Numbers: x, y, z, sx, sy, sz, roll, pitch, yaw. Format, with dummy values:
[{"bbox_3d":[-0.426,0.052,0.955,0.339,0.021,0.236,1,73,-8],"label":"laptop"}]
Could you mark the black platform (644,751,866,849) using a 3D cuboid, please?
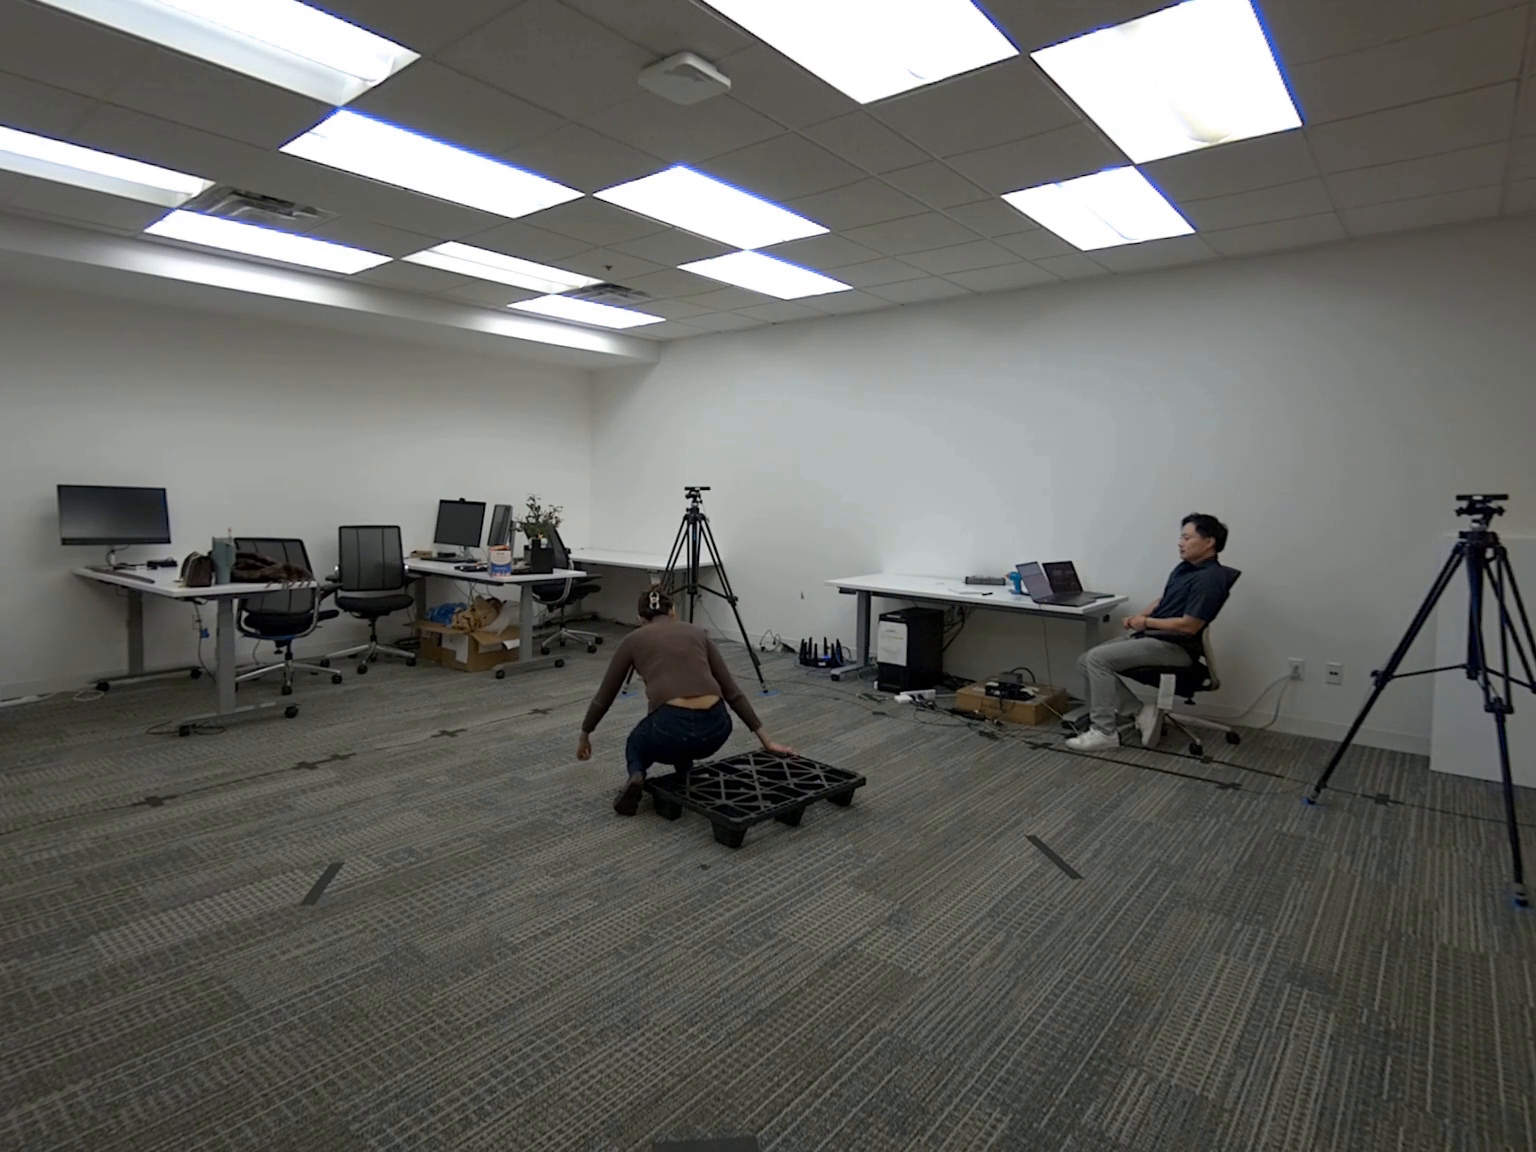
[{"bbox_3d":[-0.056,0.942,3.691,0.782,0.142,0.626,-6,9,-45],"label":"black platform"}]
